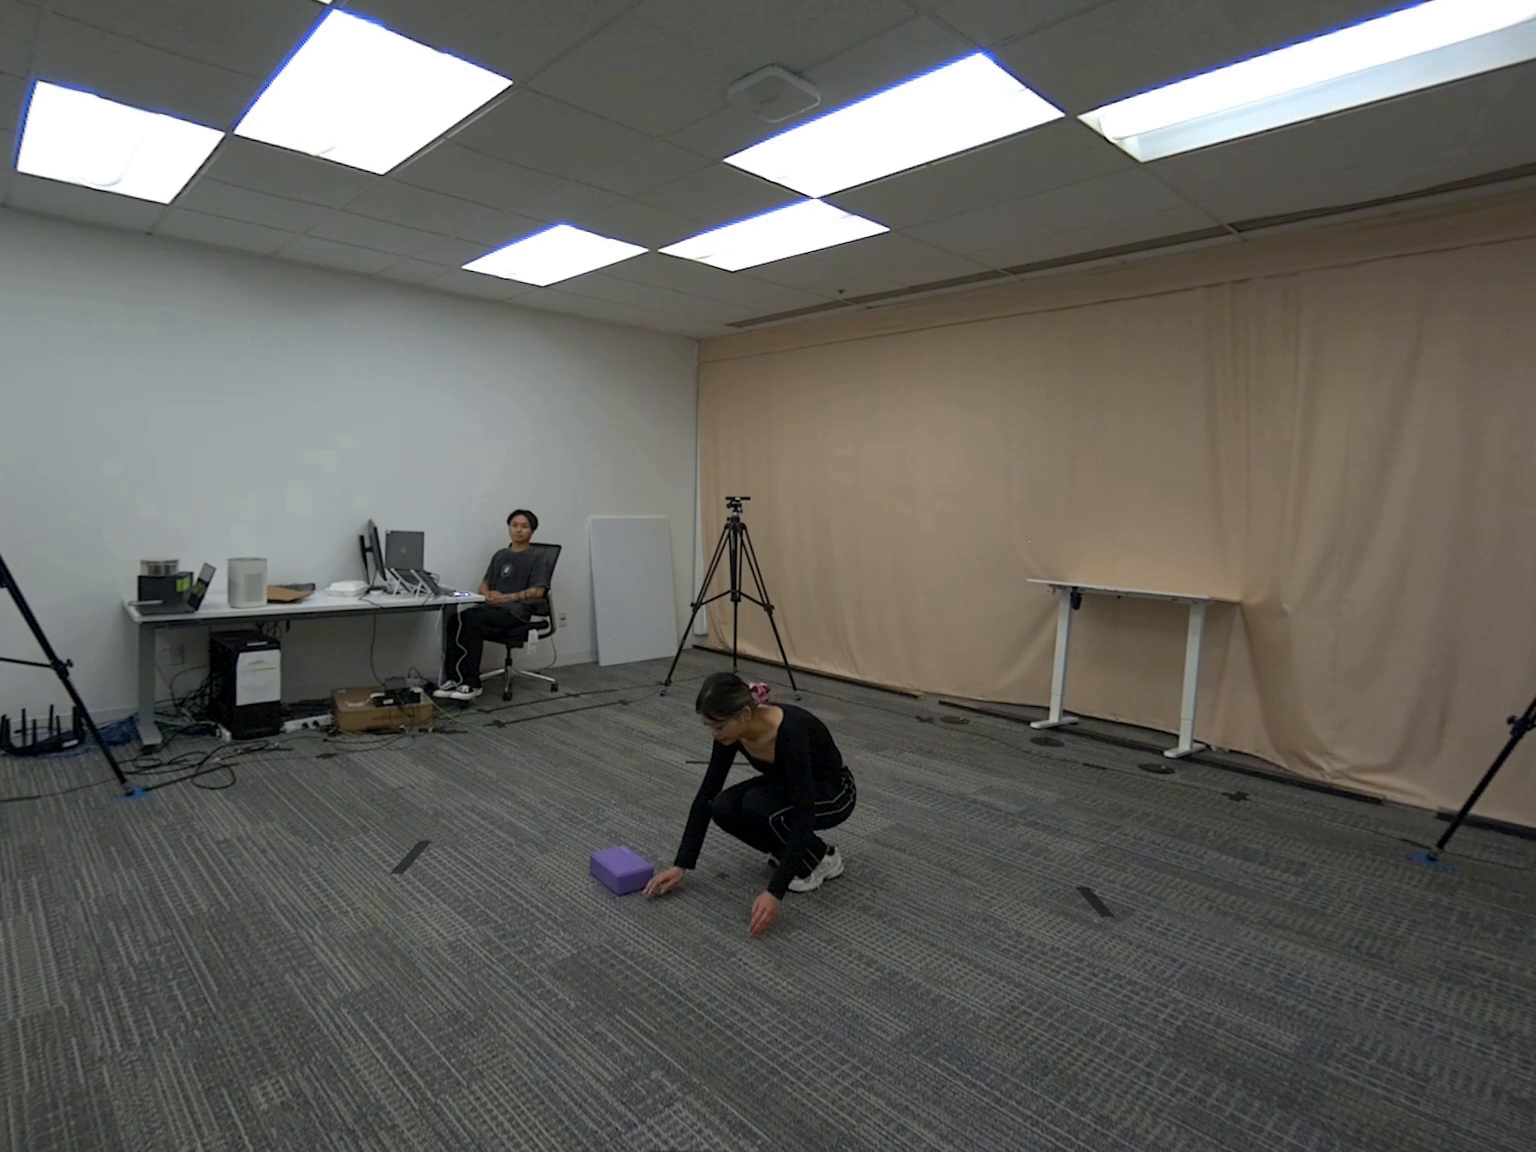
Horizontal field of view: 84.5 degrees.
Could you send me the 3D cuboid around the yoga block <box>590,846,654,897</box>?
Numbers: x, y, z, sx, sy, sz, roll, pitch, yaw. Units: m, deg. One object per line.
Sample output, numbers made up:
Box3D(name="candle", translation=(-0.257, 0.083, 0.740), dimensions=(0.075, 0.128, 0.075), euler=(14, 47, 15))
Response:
Box3D(name="yoga block", translation=(-0.535, 1.057, 3.052), dimensions=(0.146, 0.076, 0.235), euler=(-3, 6, -38))
